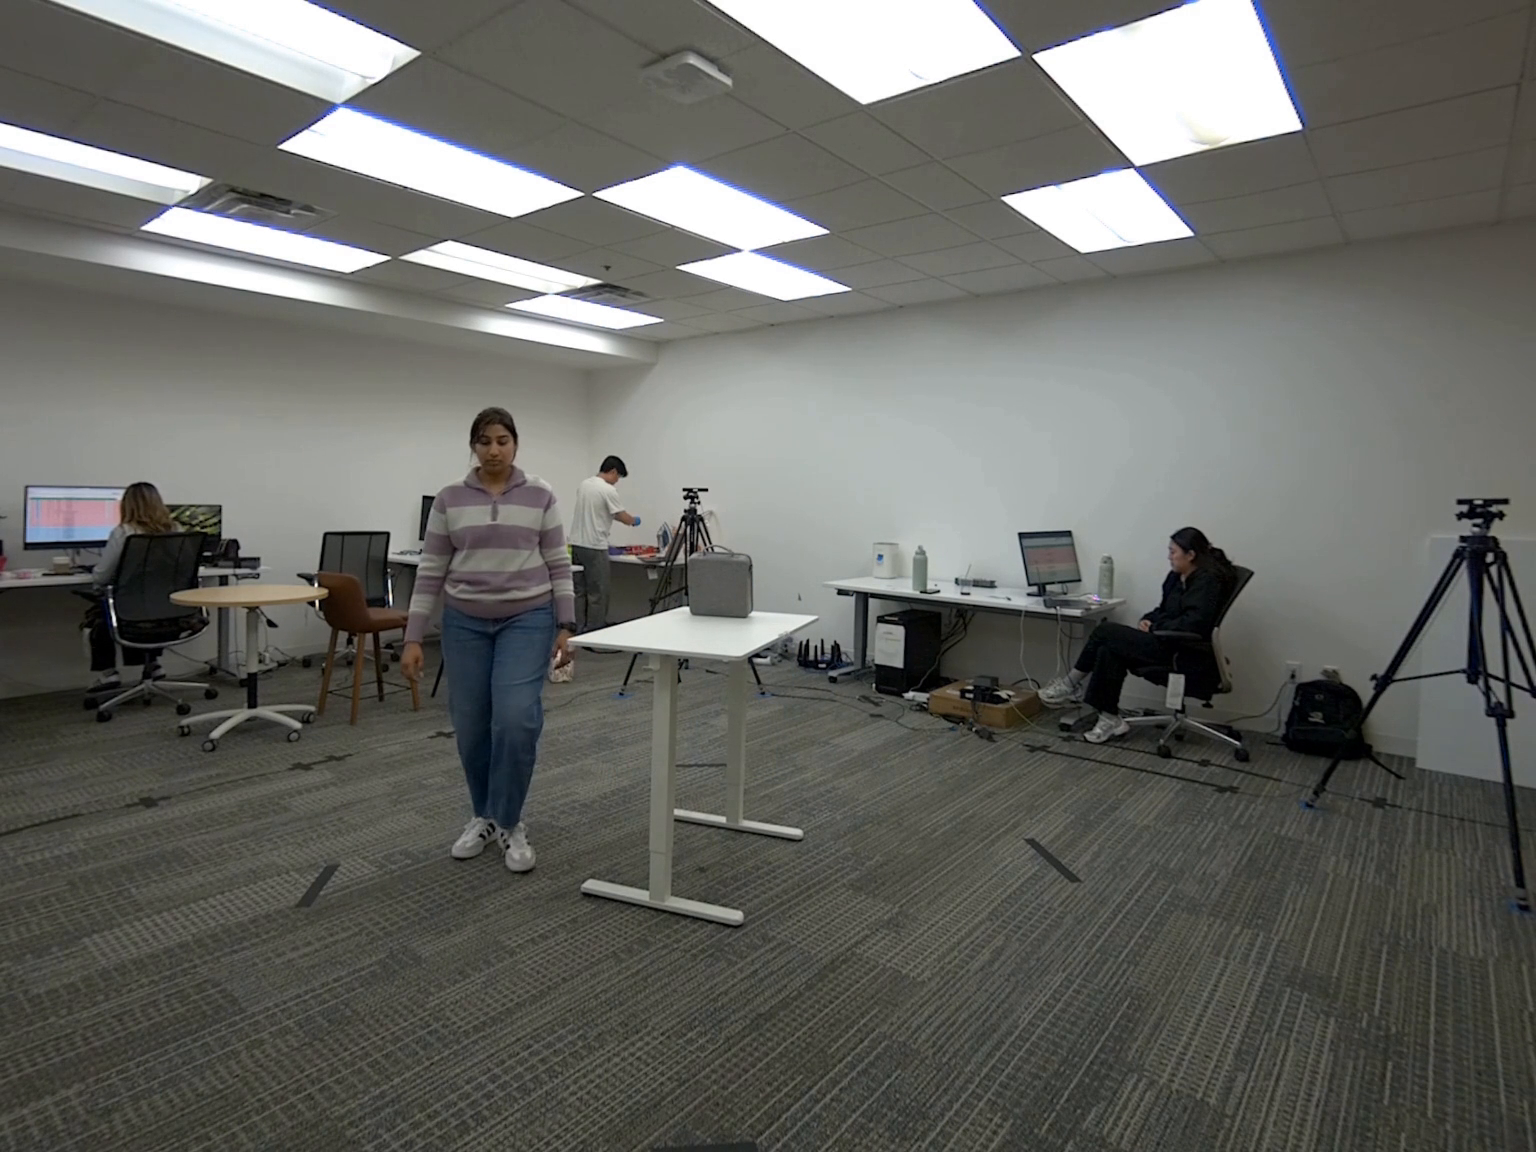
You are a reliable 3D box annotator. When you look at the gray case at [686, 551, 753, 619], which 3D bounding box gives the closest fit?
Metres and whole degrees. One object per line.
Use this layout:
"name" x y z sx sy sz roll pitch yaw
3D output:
"gray case" -0.200 0.030 3.412 0.261 0.257 0.104 2 13 14
